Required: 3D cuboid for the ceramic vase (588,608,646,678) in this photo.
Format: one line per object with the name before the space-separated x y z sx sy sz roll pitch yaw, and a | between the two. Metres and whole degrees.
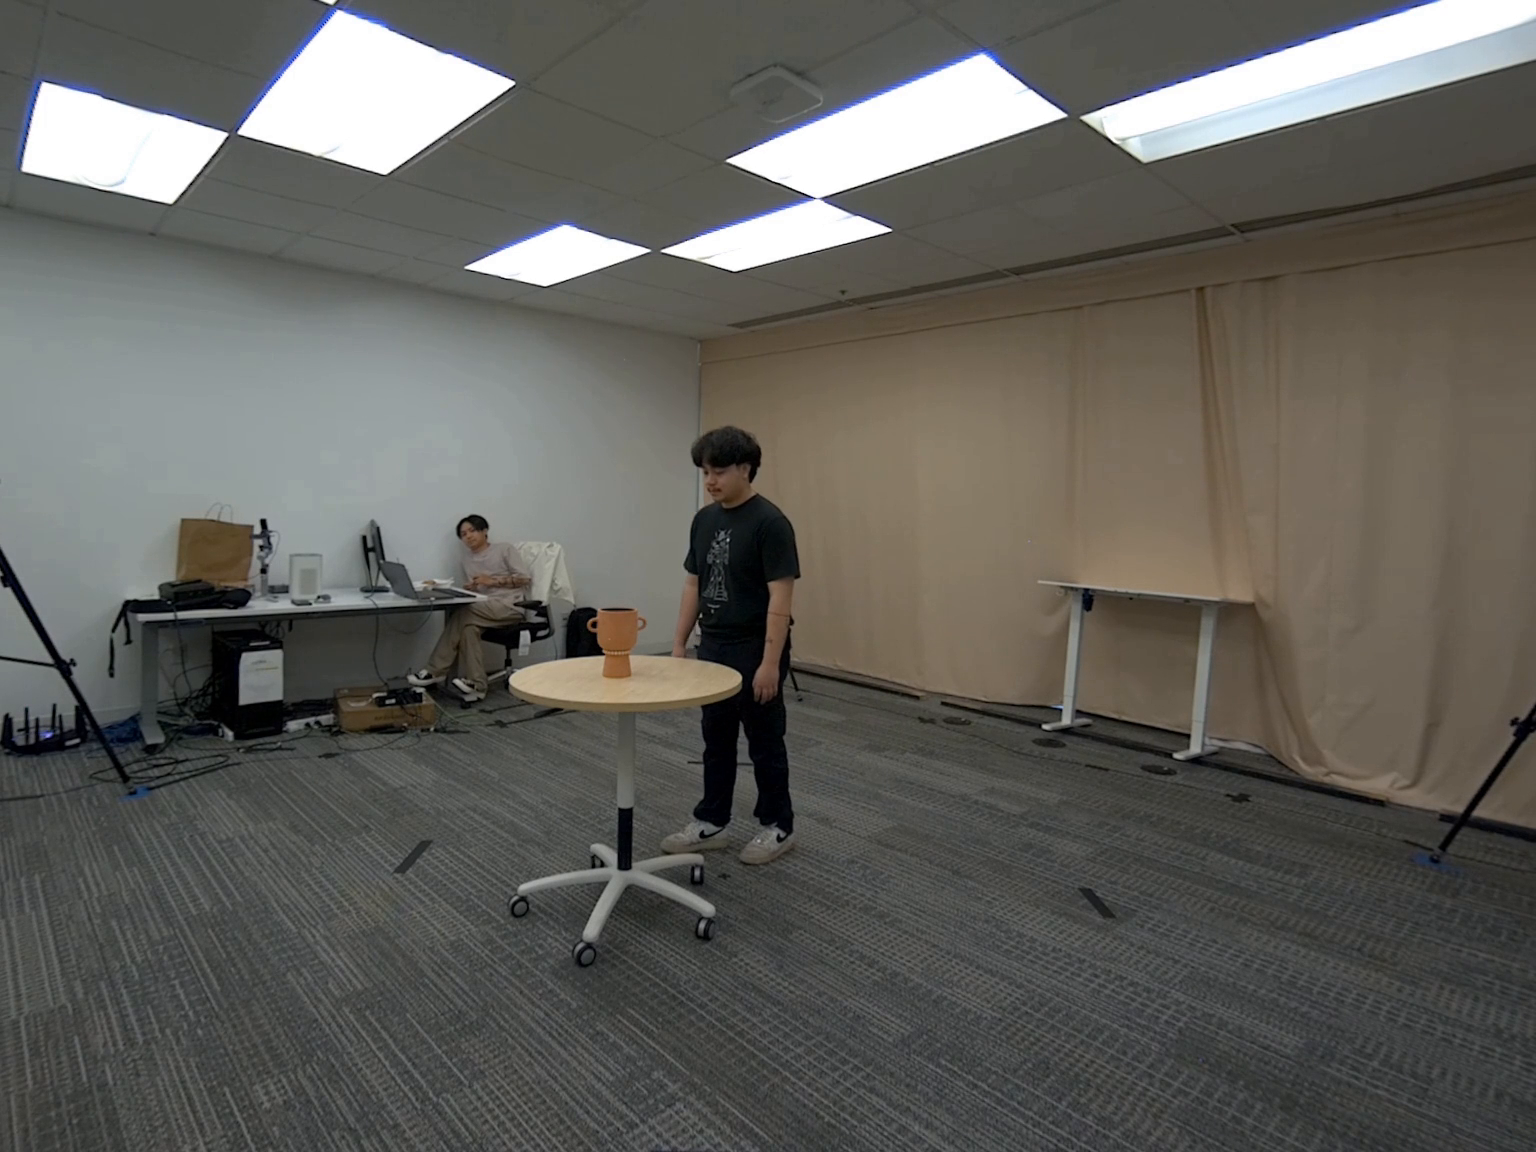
ceramic vase | -0.516 0.226 2.801 0.161 0.219 0.133 2 3 19
